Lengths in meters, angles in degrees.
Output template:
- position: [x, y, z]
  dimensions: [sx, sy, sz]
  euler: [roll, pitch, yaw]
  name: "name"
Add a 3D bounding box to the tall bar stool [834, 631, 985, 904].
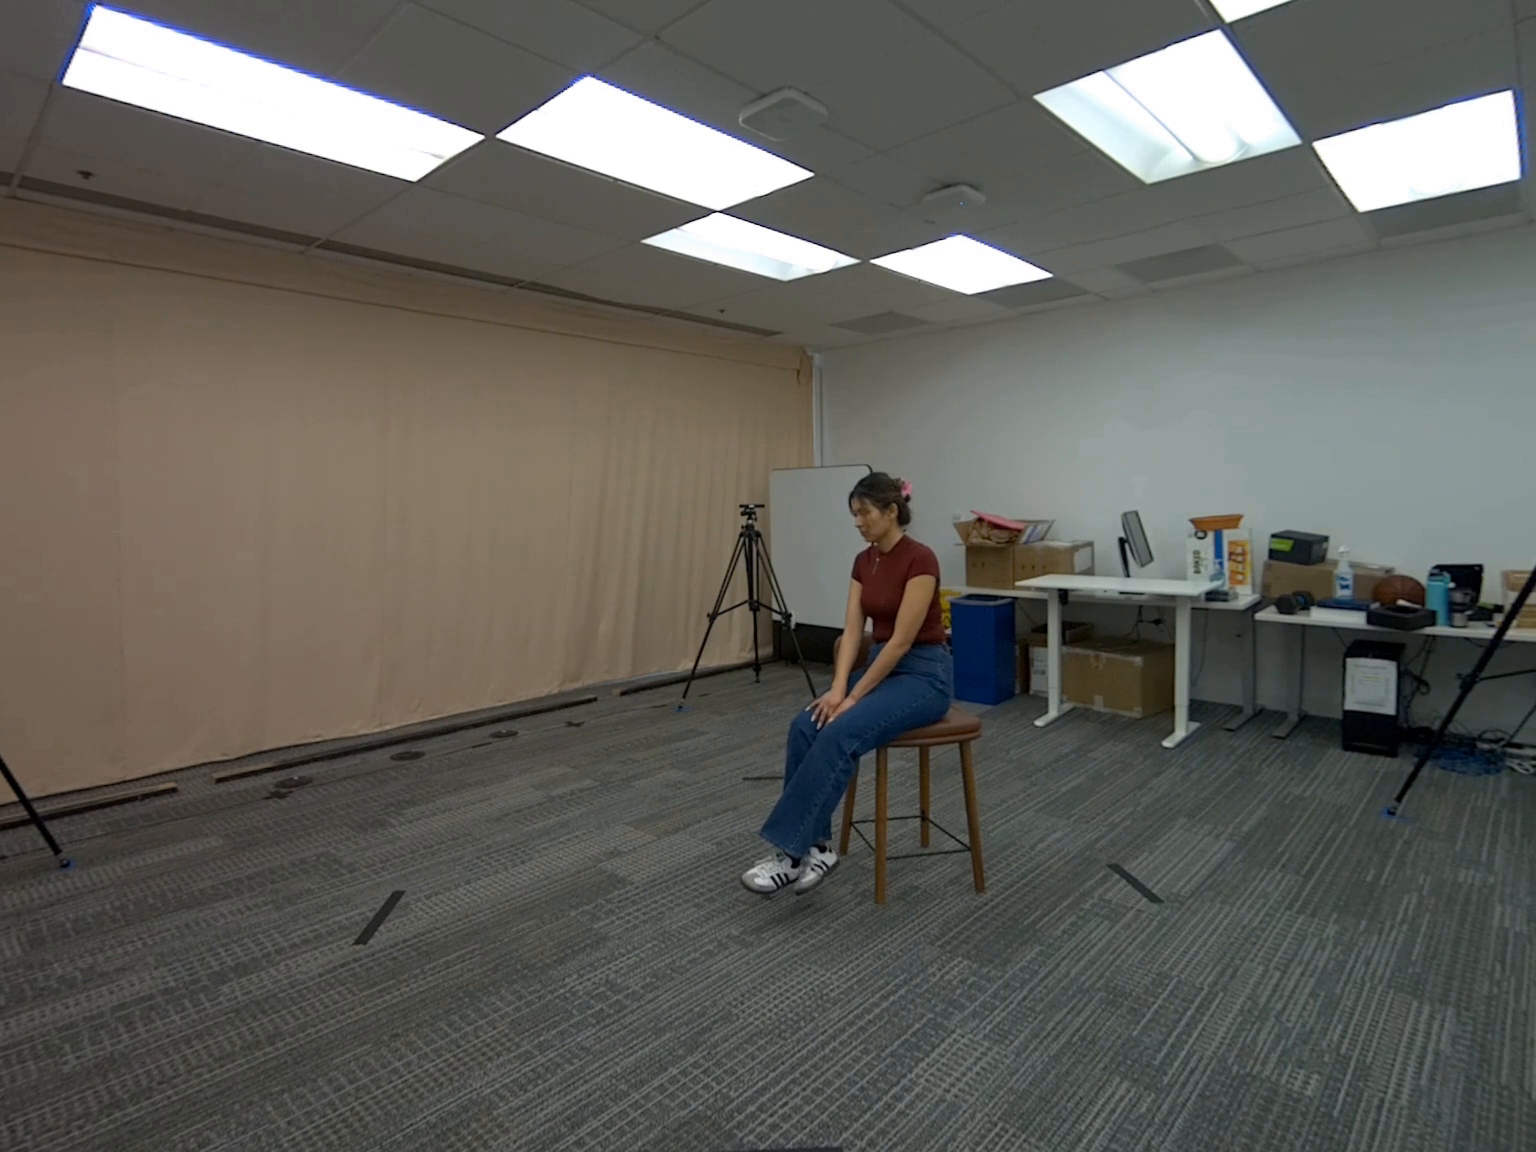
- position: [0.523, 0.682, 3.160]
  dimensions: [0.450, 0.889, 0.475]
  euler: [-1, 2, -14]
  name: "tall bar stool"
